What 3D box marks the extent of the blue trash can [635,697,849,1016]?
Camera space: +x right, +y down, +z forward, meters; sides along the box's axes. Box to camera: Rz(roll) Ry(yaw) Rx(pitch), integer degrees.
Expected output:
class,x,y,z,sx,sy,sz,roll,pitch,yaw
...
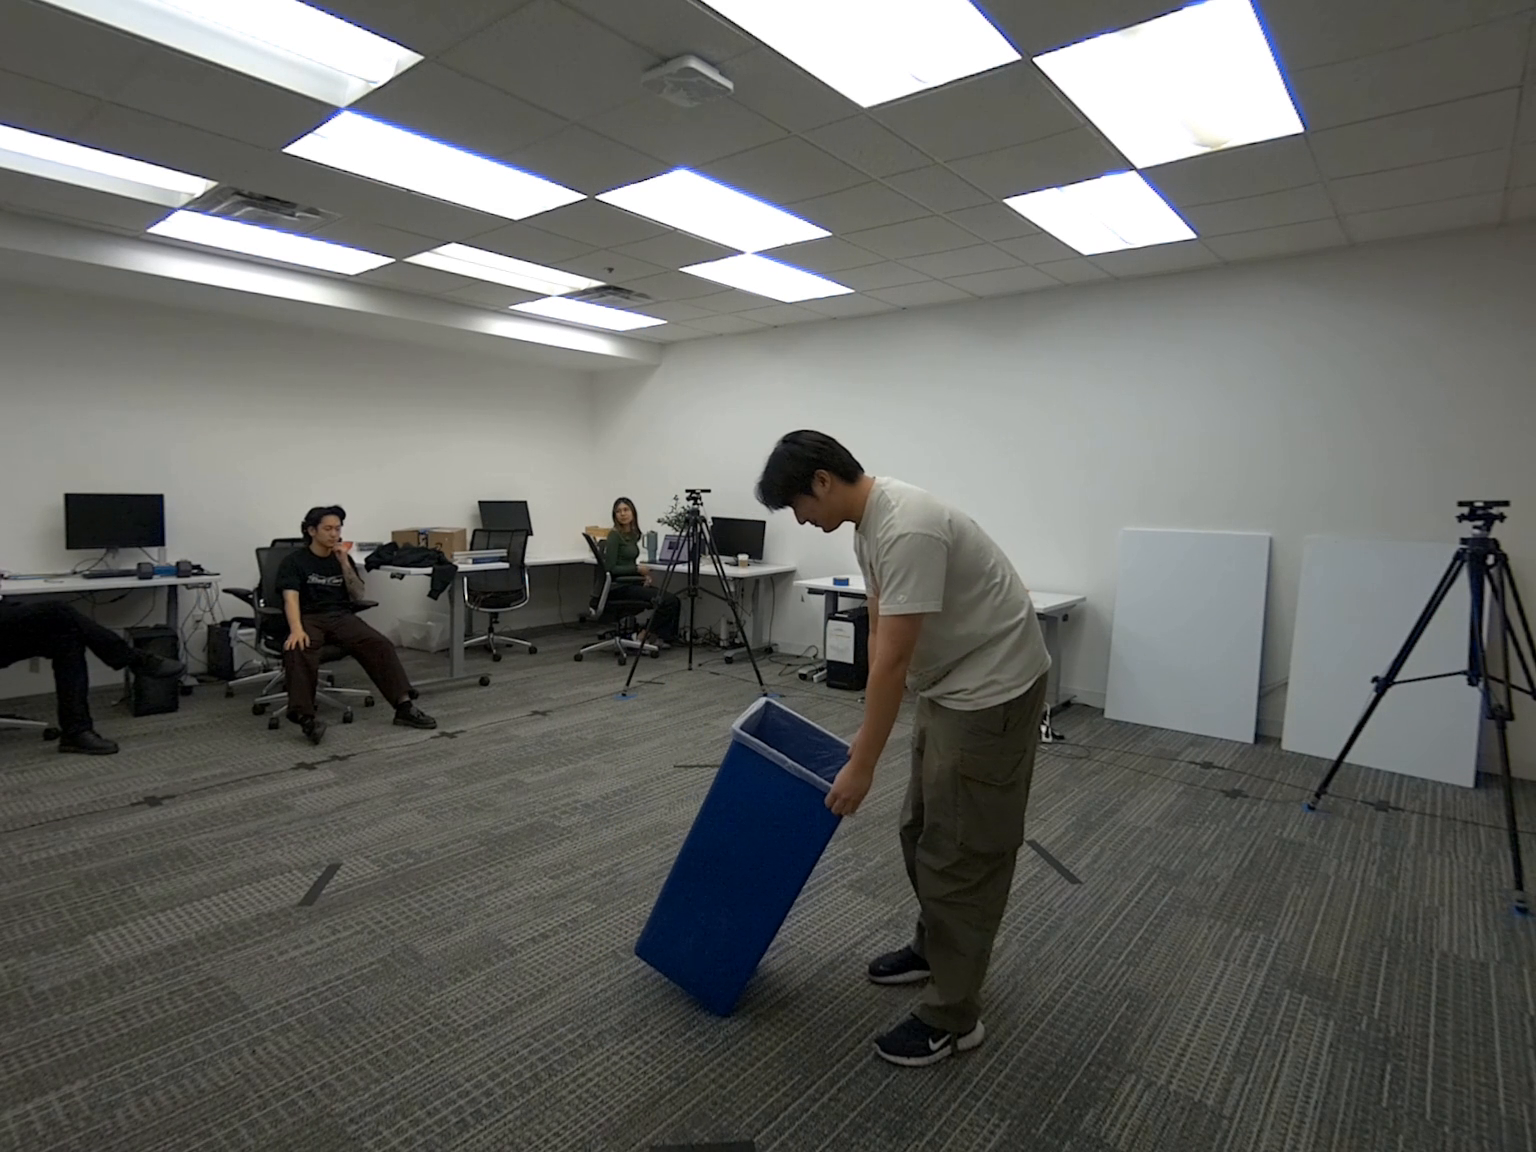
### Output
class,x,y,z,sx,sy,sz,roll,pitch,yaw
blue trash can,-0.063,0.764,2.352,0.380,0.711,0.373,29,9,10
